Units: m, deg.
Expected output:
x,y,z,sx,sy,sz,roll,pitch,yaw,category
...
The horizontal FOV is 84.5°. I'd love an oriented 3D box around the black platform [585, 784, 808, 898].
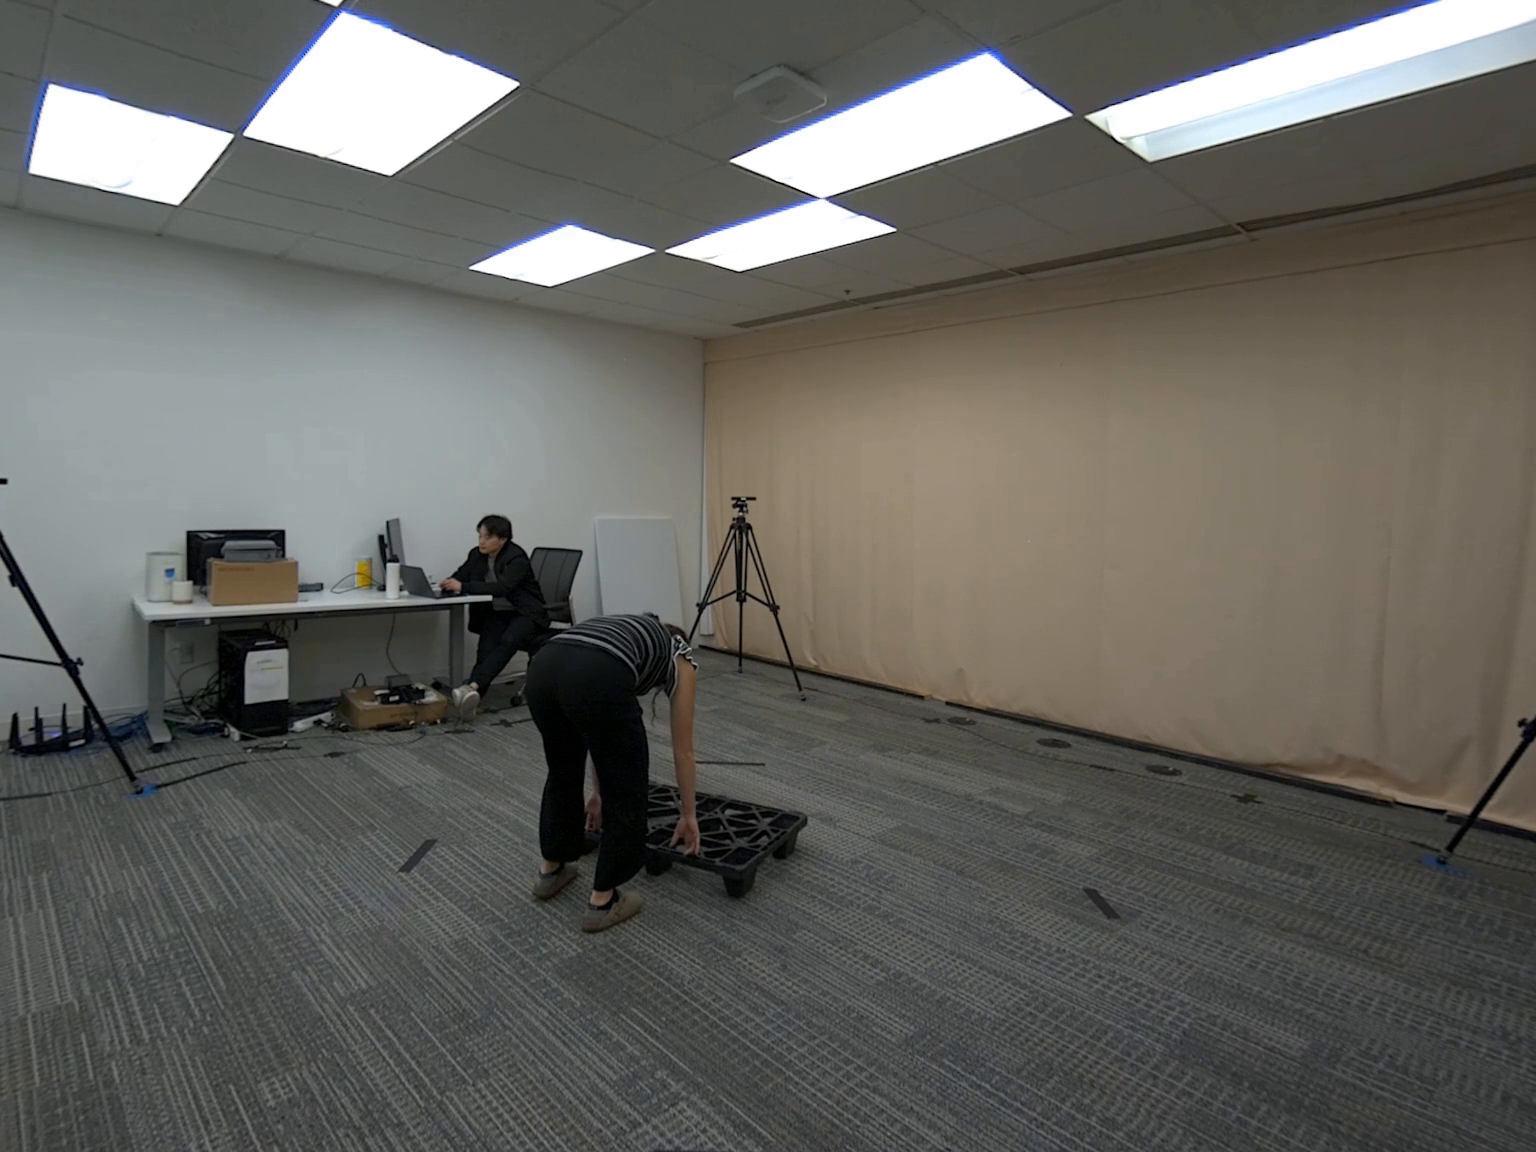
x,y,z,sx,sy,sz,roll,pitch,yaw,category
-0.330,1.016,3.301,0.822,0.143,0.594,4,5,27,black platform
